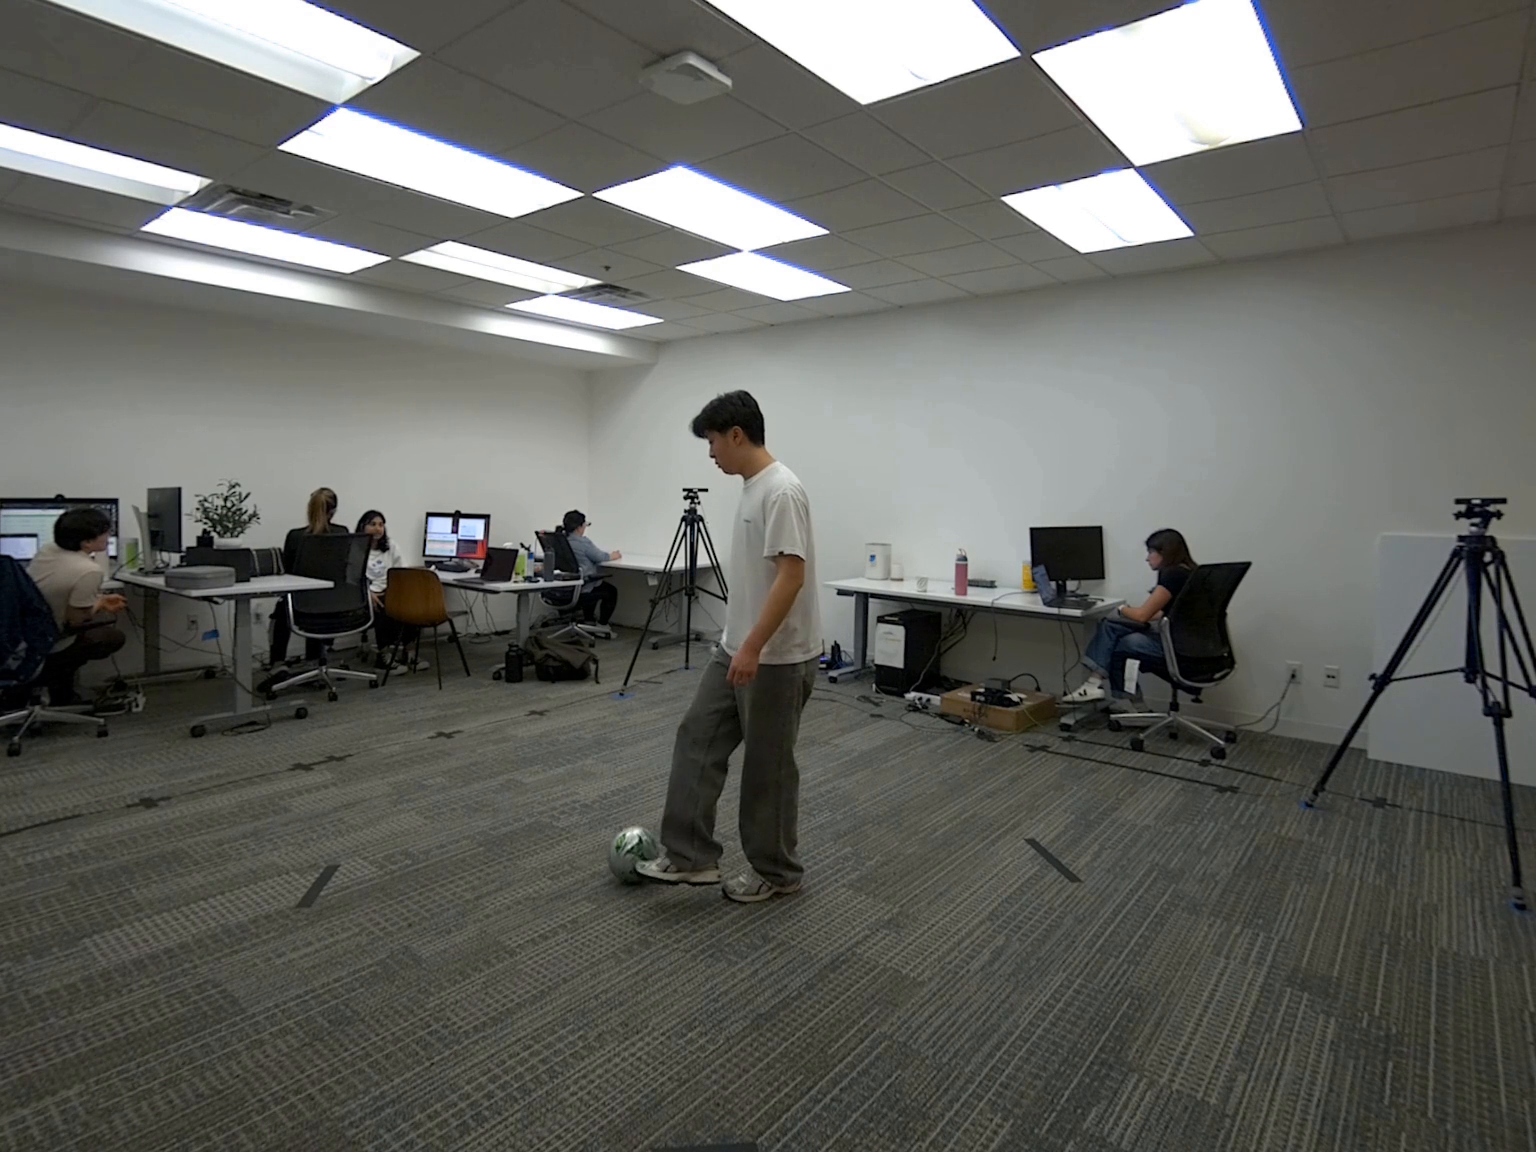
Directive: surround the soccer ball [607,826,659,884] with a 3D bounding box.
[{"bbox_3d":[-0.473,0.975,3.017,0.187,0.187,0.188,1,4,-2],"label":"soccer ball"}]
